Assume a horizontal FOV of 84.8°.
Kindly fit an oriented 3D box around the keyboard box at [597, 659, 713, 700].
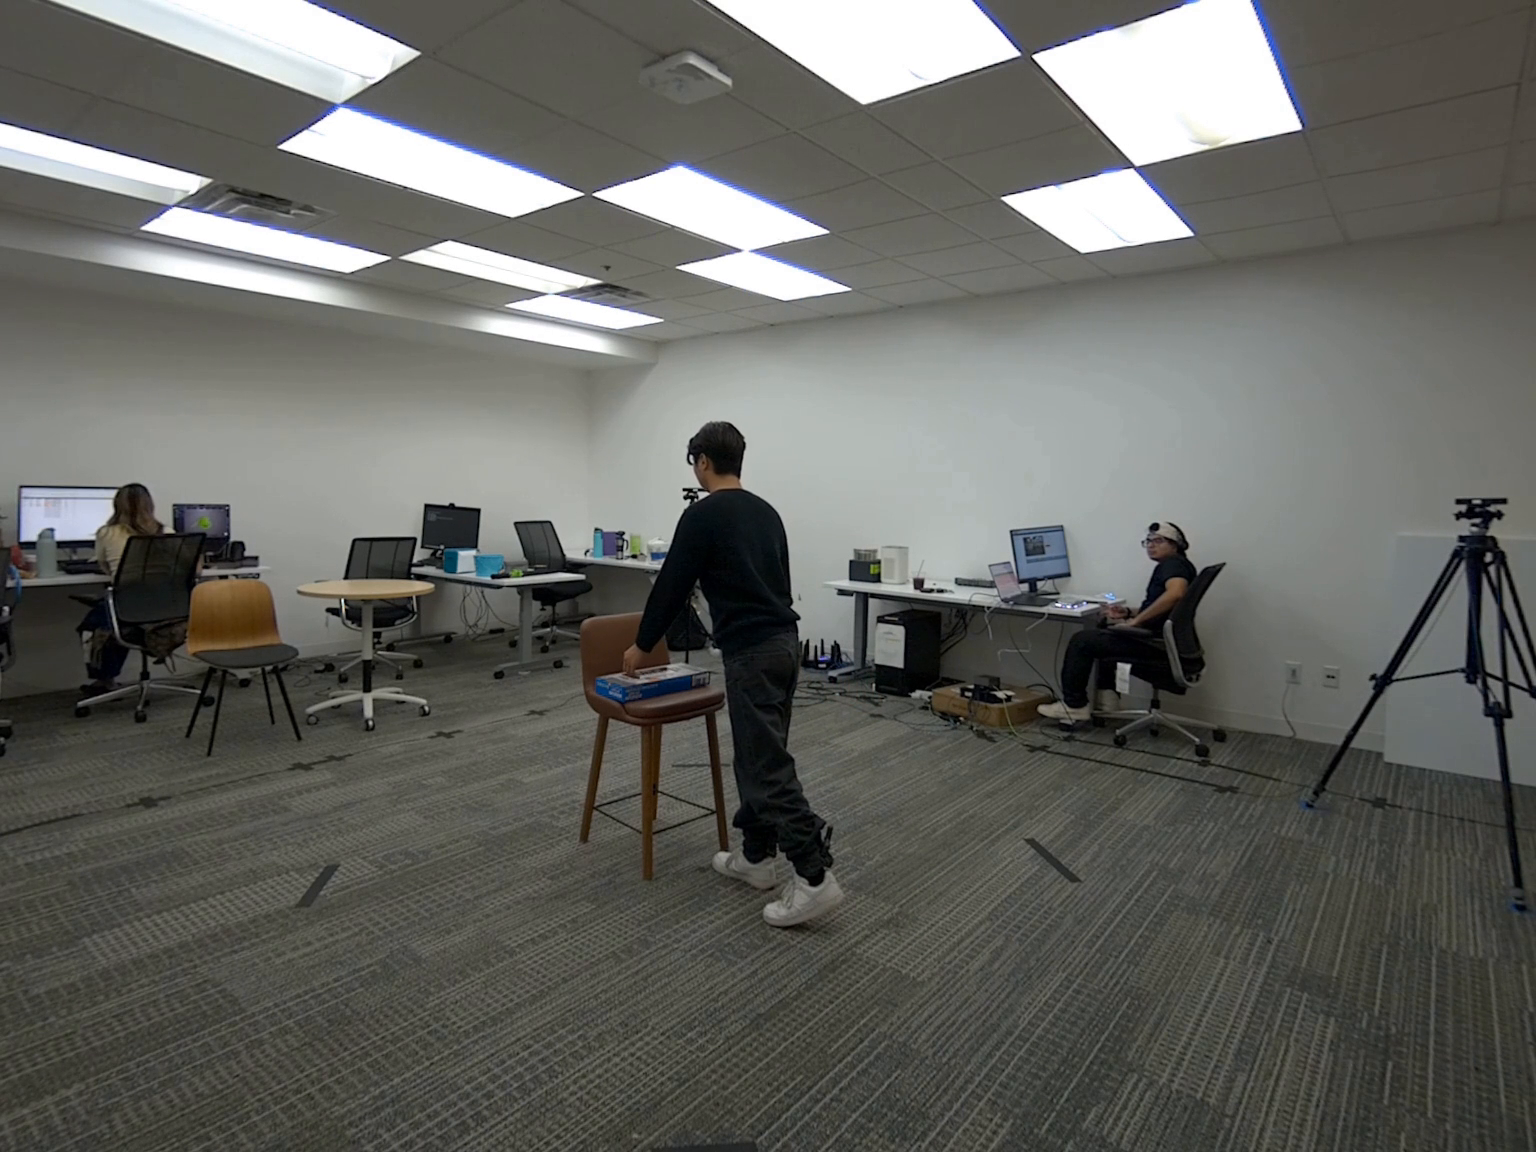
[{"bbox_3d":[-0.437,0.396,3.280,0.182,0.059,0.424,9,9,42],"label":"keyboard box"}]
